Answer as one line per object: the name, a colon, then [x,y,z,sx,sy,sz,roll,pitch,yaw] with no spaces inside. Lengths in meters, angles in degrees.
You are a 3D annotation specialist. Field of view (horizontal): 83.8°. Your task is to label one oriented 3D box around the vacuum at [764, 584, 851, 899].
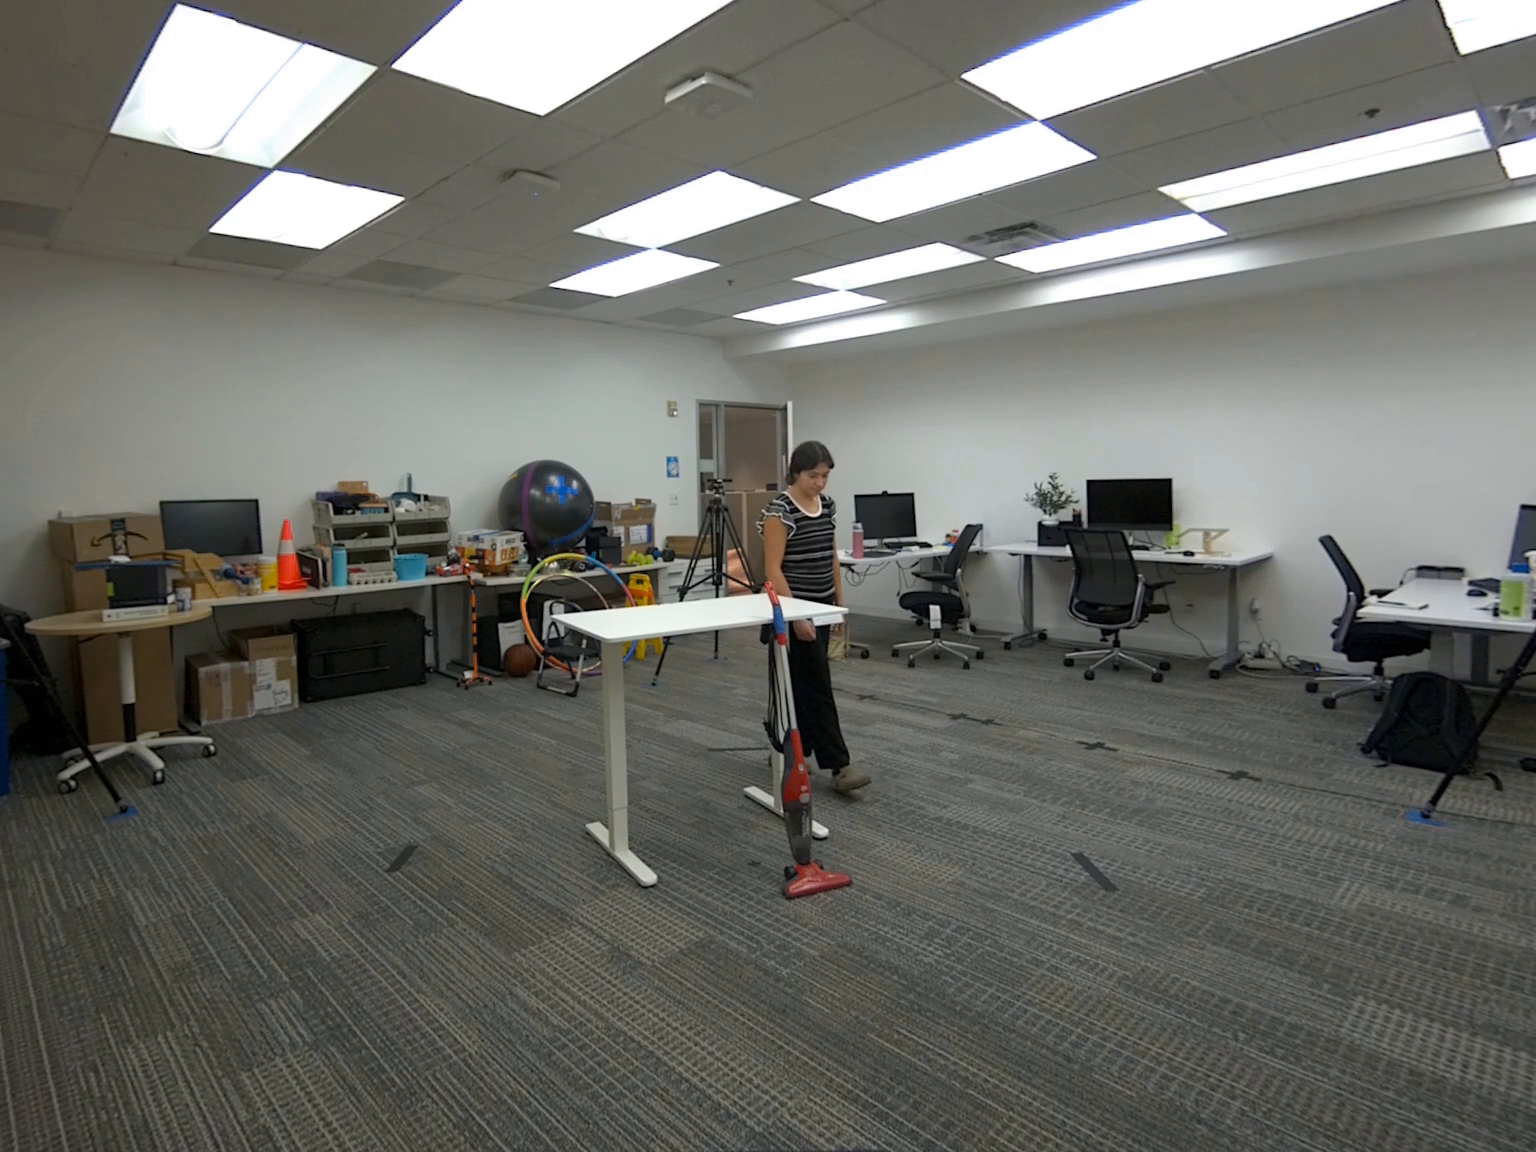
vacuum: [0.083,0.556,3.050,0.247,1.062,0.145,-2,-13,-25]
